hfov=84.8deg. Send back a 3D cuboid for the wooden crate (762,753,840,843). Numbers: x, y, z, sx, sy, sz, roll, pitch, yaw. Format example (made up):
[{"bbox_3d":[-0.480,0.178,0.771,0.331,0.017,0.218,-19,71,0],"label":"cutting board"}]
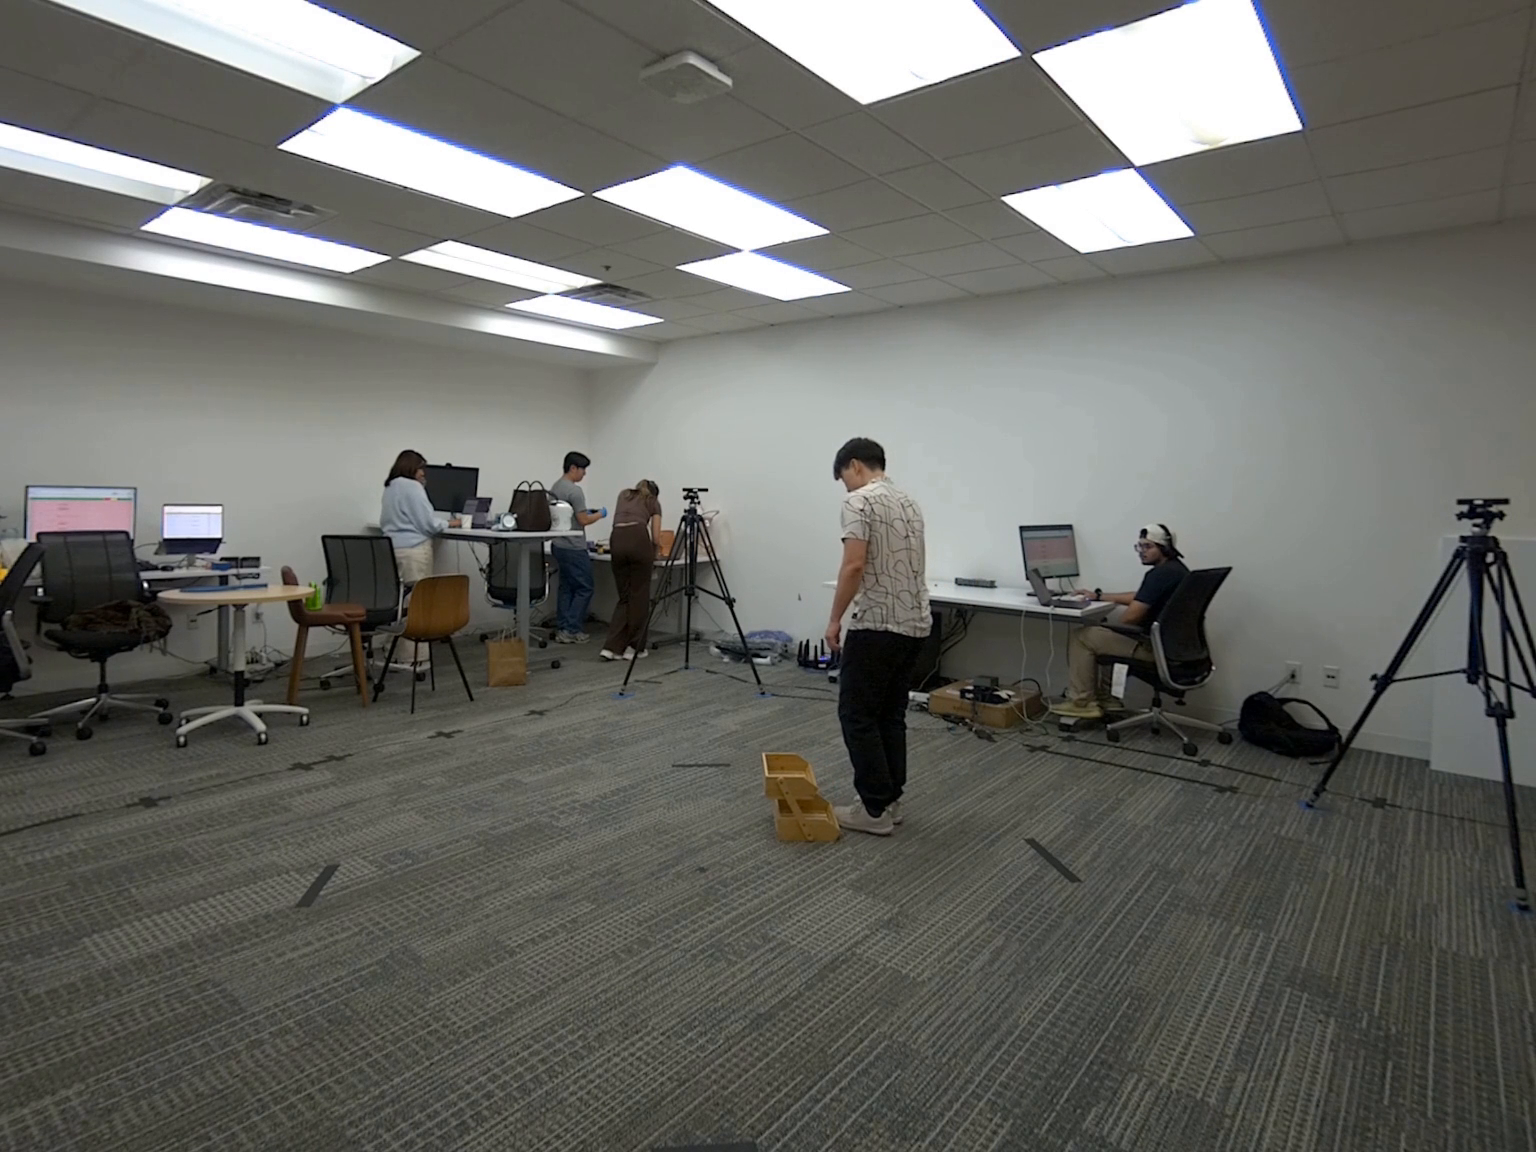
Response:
[{"bbox_3d":[0.133,0.903,3.529,0.301,0.272,0.326,1,4,-3],"label":"wooden crate"}]
